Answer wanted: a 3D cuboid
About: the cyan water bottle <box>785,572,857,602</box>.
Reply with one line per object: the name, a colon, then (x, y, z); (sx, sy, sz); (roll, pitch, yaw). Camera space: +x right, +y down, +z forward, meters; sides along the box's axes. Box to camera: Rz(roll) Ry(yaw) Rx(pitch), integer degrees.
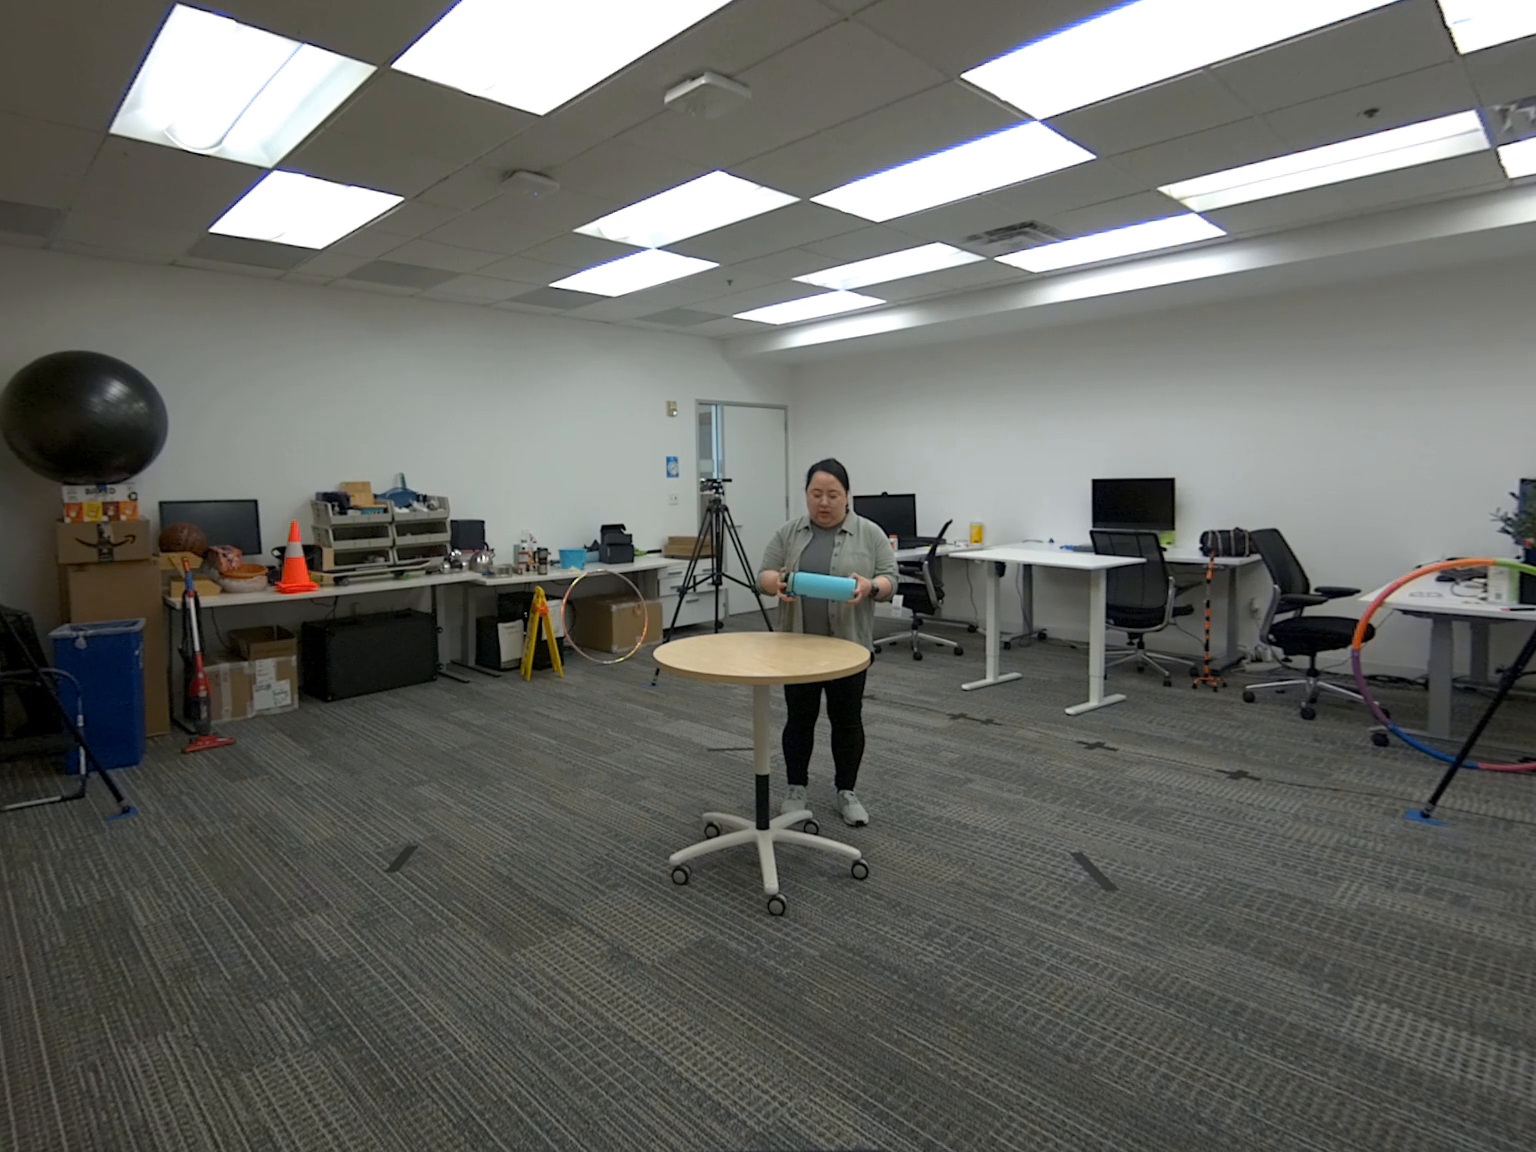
cyan water bottle: (0.190, 0.042, 3.257); (0.287, 0.092, 0.092); (10, 6, 10)
